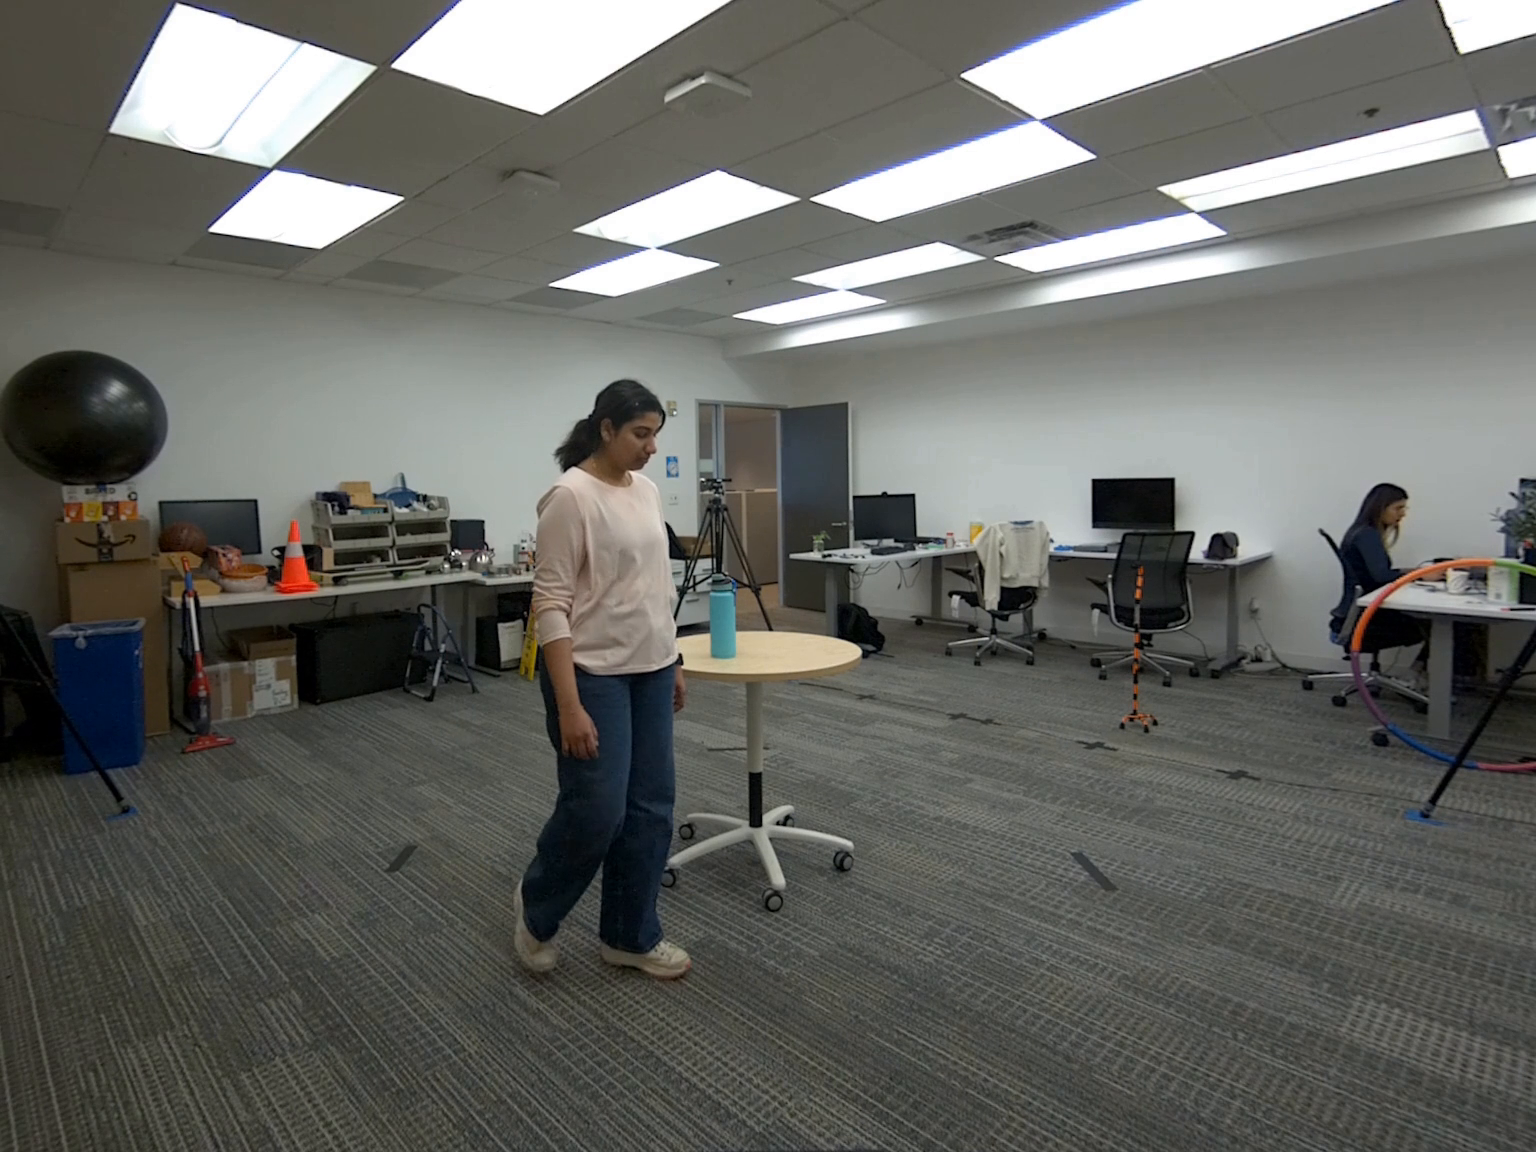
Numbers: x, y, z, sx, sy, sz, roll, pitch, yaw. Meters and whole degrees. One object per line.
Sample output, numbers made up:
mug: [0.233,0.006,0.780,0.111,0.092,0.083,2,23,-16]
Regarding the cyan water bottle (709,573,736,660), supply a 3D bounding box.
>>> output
cyan water bottle: [-0.151,0.139,2.953,0.092,0.282,0.093,0,4,-2]
